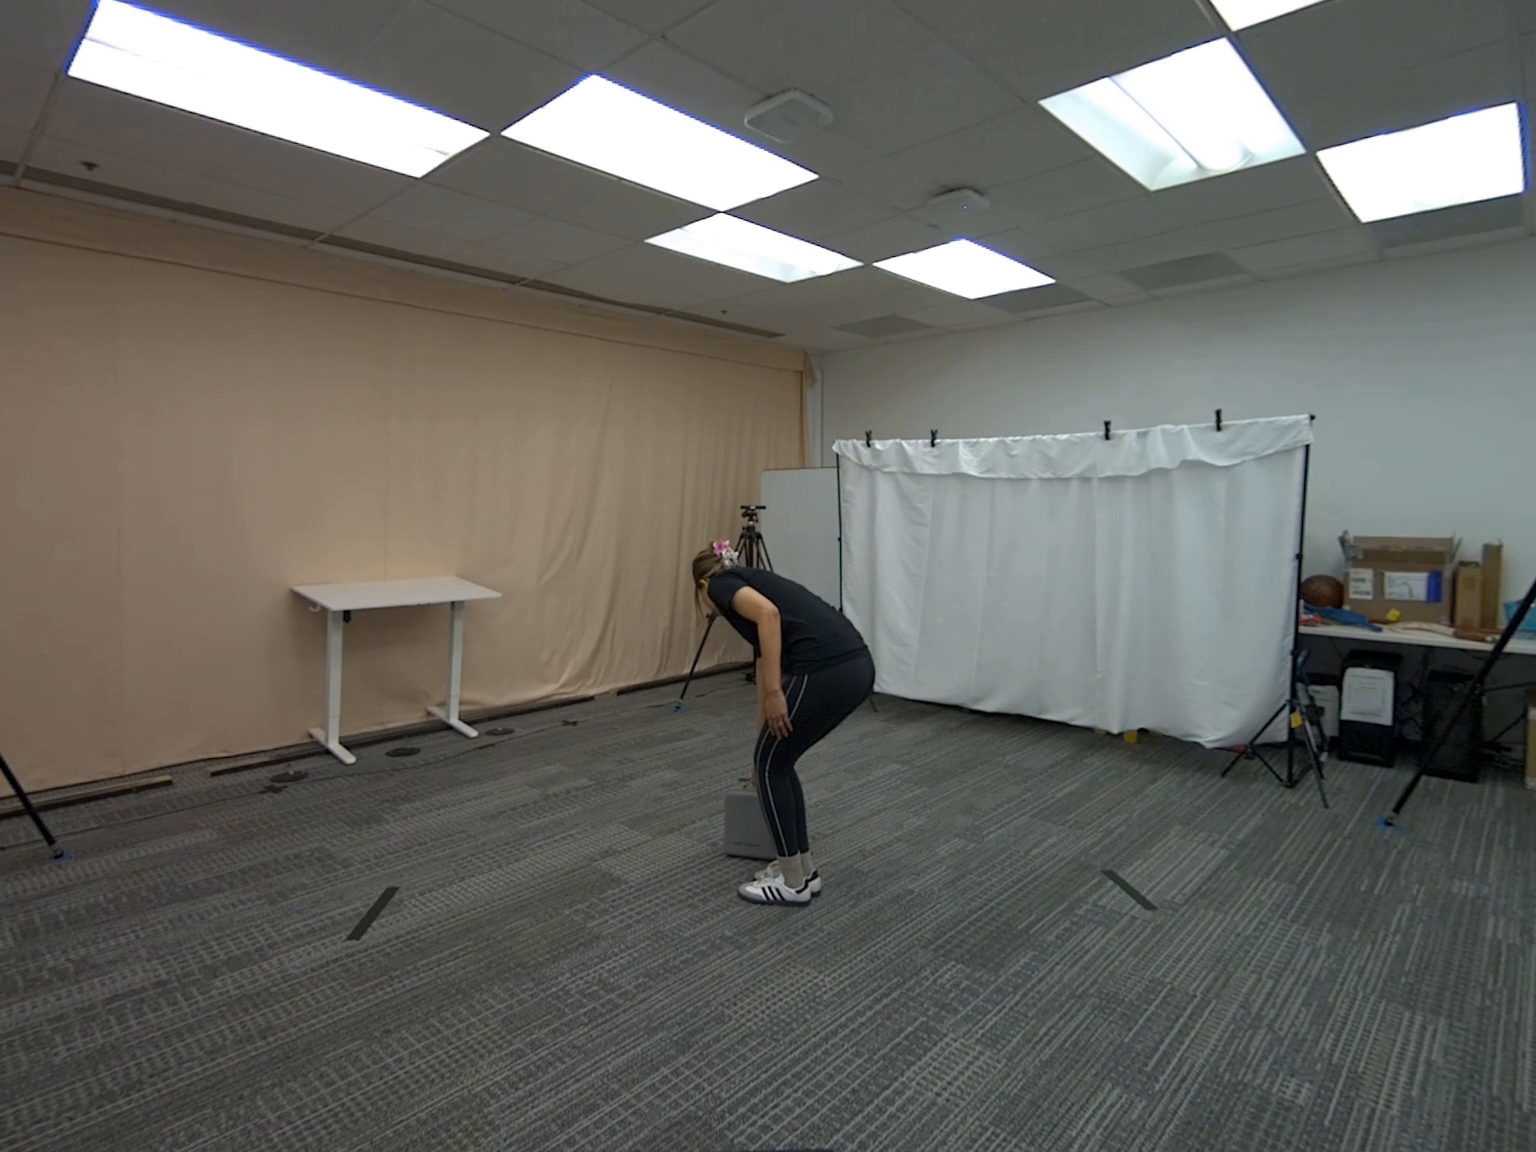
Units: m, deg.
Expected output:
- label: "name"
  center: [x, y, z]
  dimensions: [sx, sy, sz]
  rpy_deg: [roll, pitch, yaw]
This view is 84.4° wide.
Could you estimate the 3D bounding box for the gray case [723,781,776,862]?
- label: "gray case"
  center: [-0.047, 0.978, 3.352]
  dimensions: [0.262, 0.261, 0.102]
  rpy_deg: [2, -4, 17]
